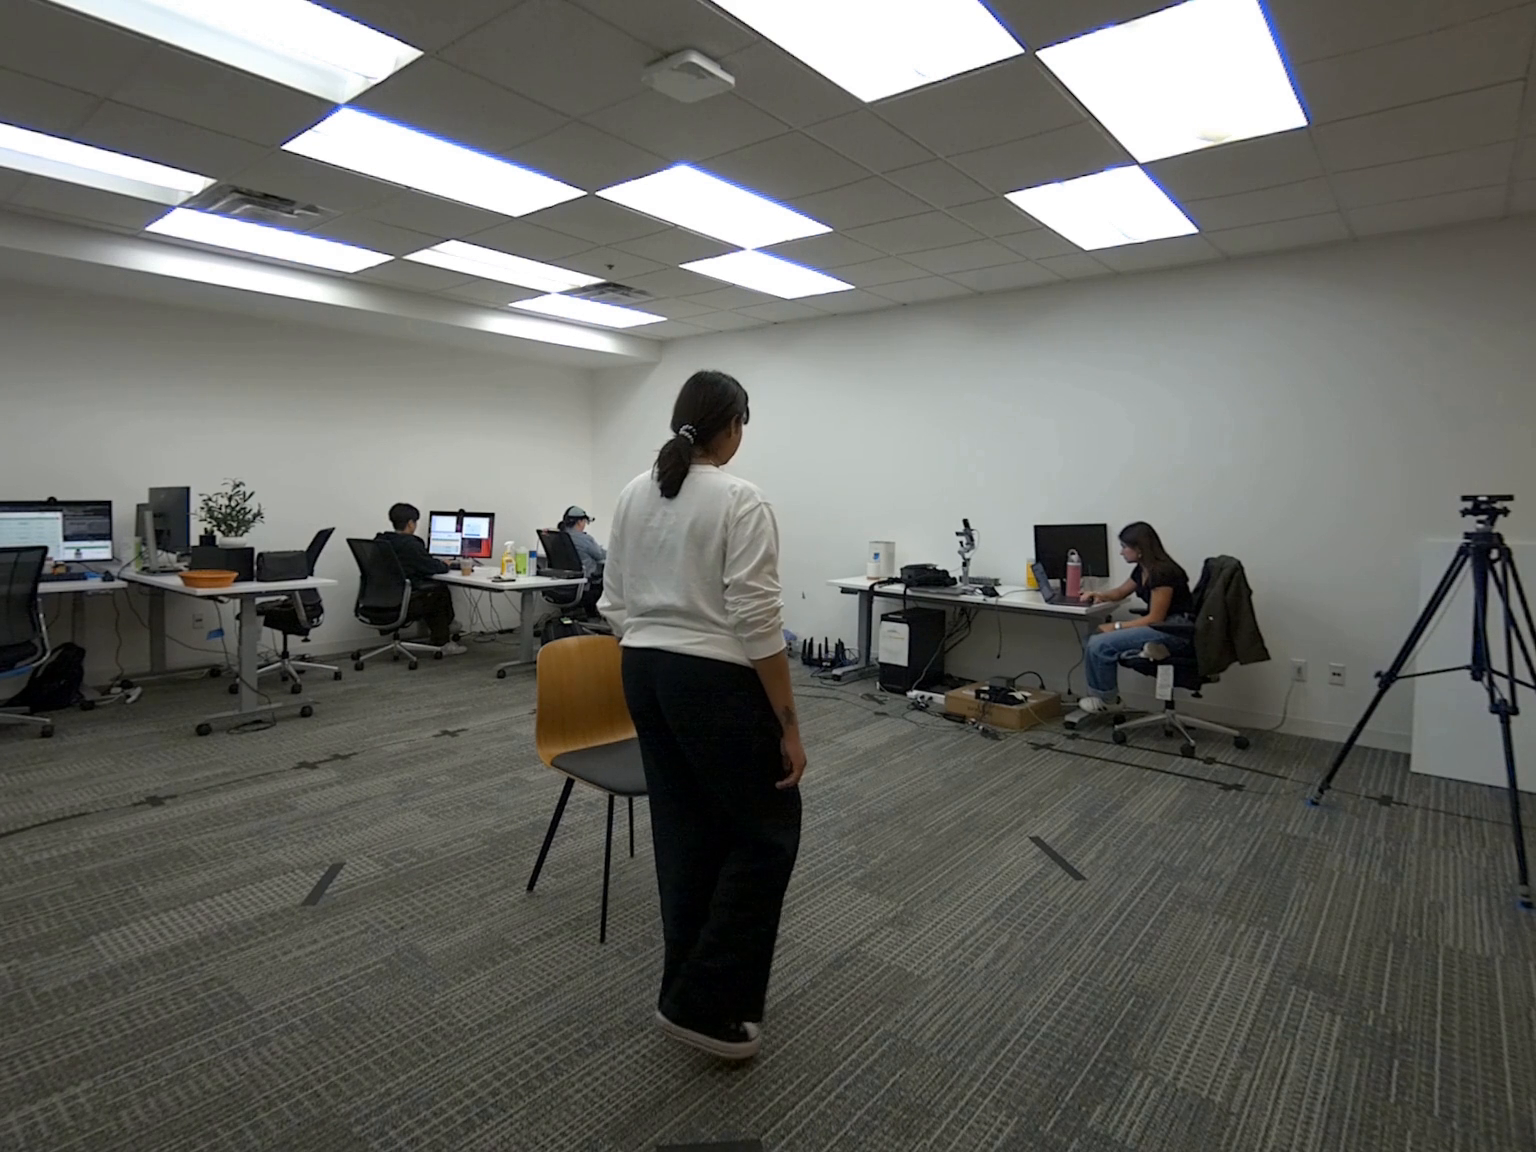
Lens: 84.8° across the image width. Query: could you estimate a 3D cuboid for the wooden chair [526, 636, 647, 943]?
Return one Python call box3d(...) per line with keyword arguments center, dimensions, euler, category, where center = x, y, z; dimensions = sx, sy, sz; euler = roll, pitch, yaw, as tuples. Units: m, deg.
box3d(center=(-0.498, 0.658, 2.865), dimensions=(0.463, 0.878, 0.539), euler=(-2, 0, -44), category="wooden chair")
